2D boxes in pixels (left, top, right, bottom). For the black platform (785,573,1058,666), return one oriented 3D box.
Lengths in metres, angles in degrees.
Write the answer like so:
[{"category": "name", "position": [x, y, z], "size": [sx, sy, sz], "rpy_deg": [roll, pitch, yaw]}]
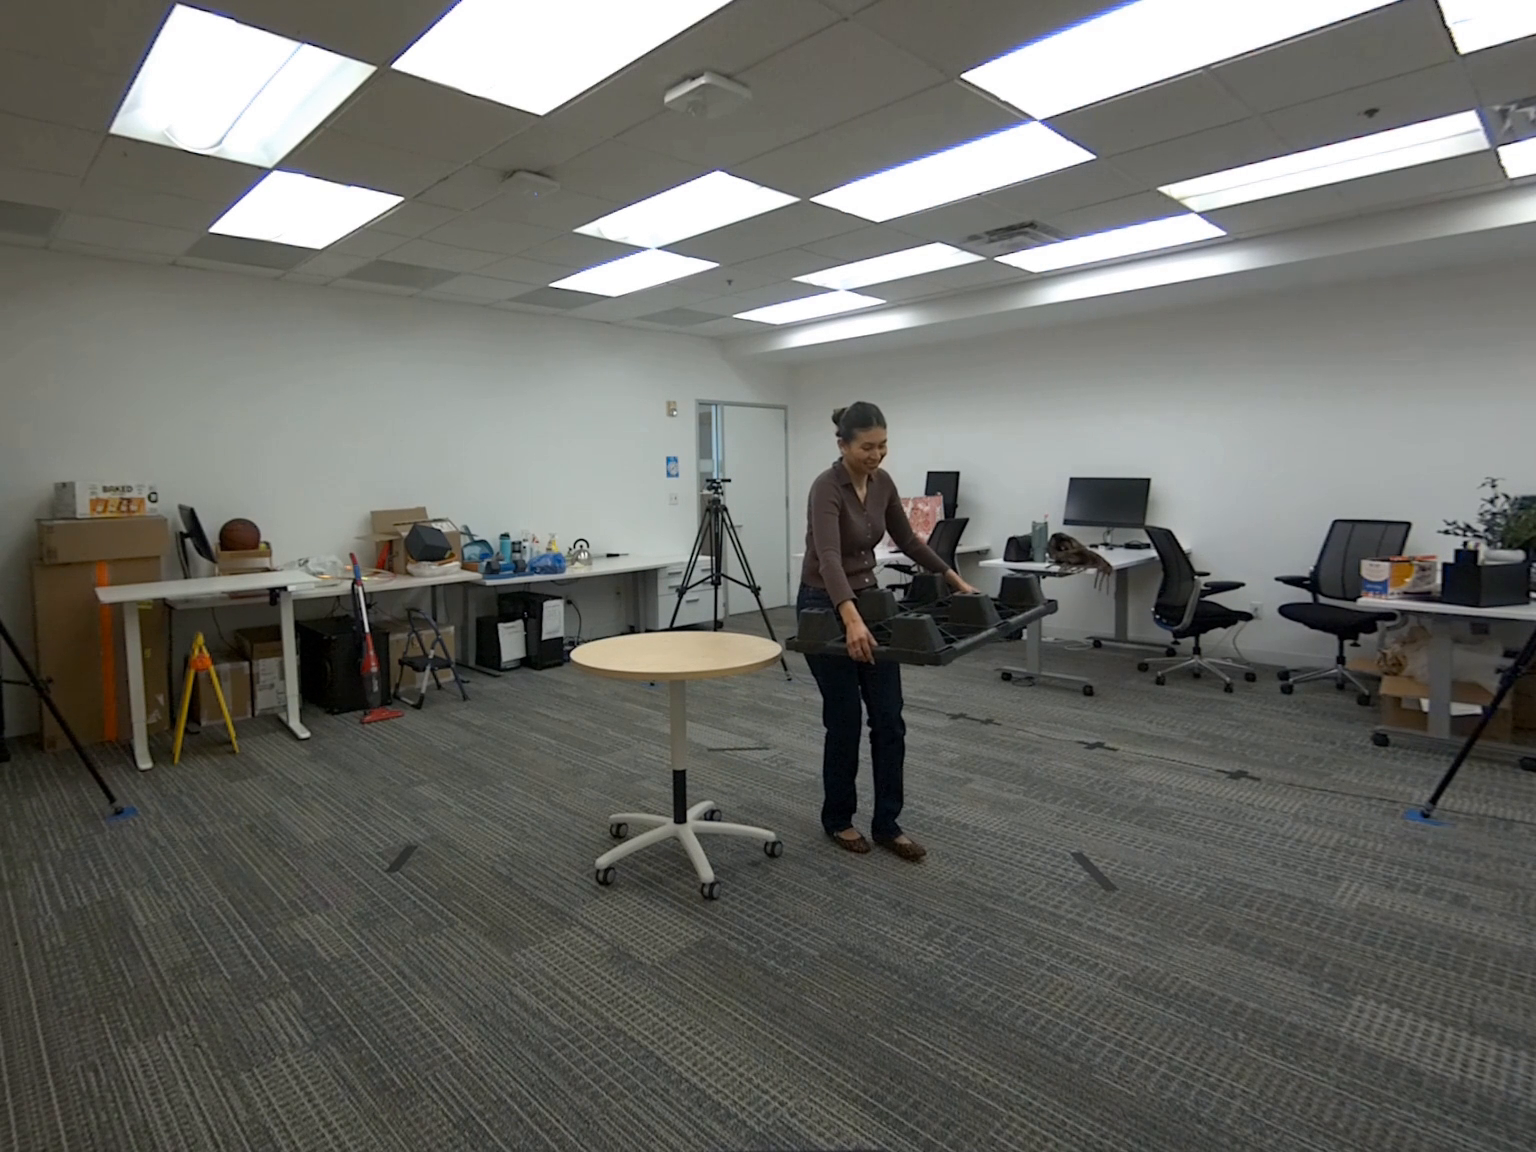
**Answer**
[{"category": "black platform", "position": [0.537, 0.124, 2.929], "size": [0.623, 0.142, 0.788], "rpy_deg": [2, 11, 44]}]
